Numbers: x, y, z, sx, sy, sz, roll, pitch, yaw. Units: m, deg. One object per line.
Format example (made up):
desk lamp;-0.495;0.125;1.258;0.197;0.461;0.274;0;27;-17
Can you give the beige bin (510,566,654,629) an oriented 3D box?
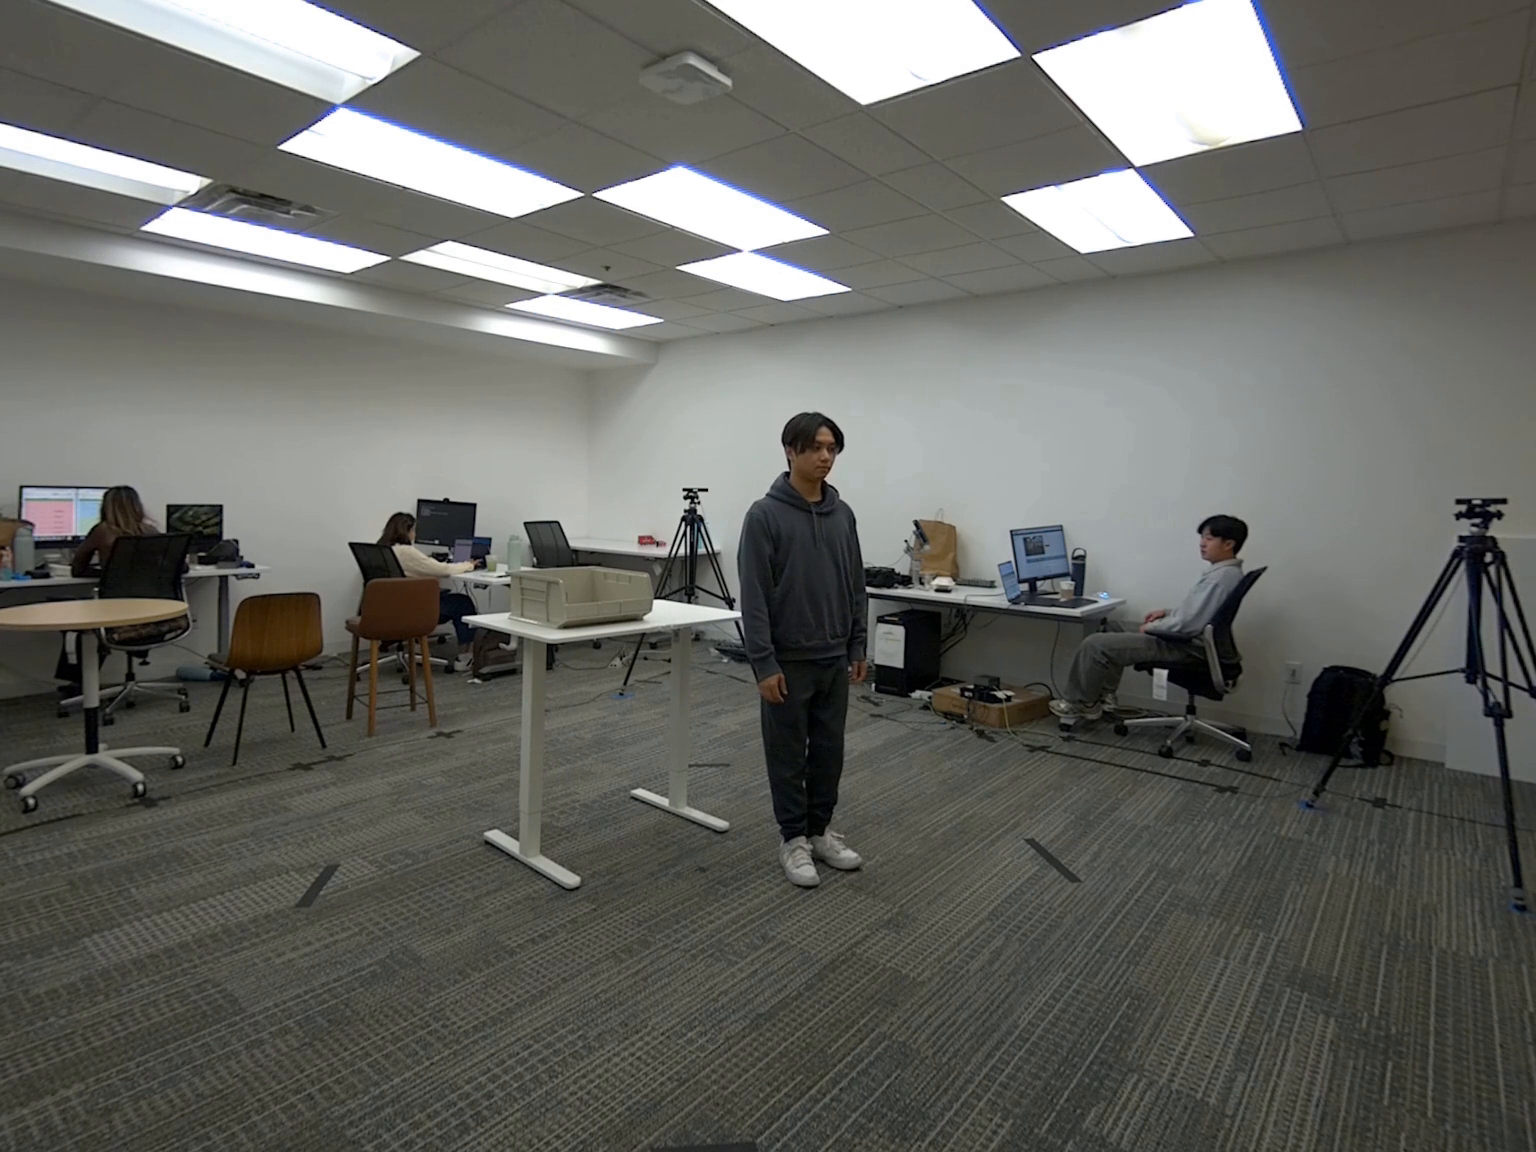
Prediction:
beige bin;-0.726;0.076;3.233;0.390;0.188;0.409;6;6;42
